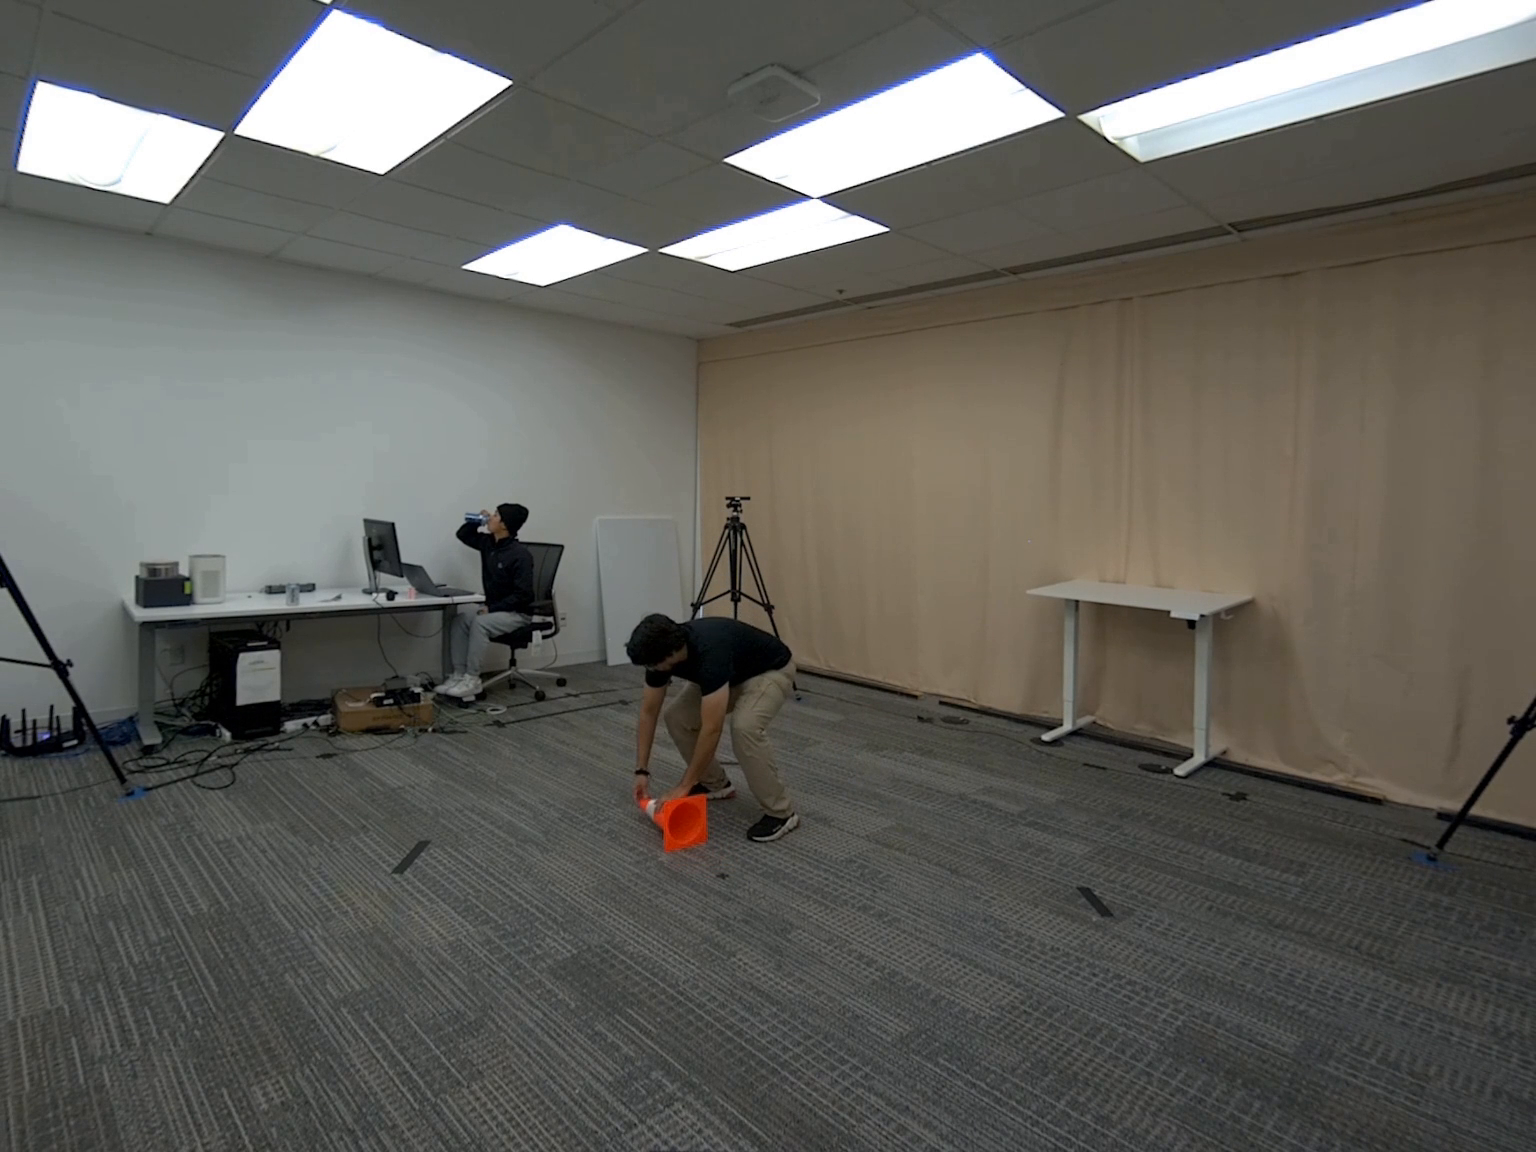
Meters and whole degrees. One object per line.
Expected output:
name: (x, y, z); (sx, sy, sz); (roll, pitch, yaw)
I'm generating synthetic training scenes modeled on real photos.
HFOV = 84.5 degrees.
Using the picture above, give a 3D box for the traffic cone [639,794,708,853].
traffic cone: (-0.448, 0.979, 3.508); (0.200, 0.203, 0.392); (-2, 1, -35)
